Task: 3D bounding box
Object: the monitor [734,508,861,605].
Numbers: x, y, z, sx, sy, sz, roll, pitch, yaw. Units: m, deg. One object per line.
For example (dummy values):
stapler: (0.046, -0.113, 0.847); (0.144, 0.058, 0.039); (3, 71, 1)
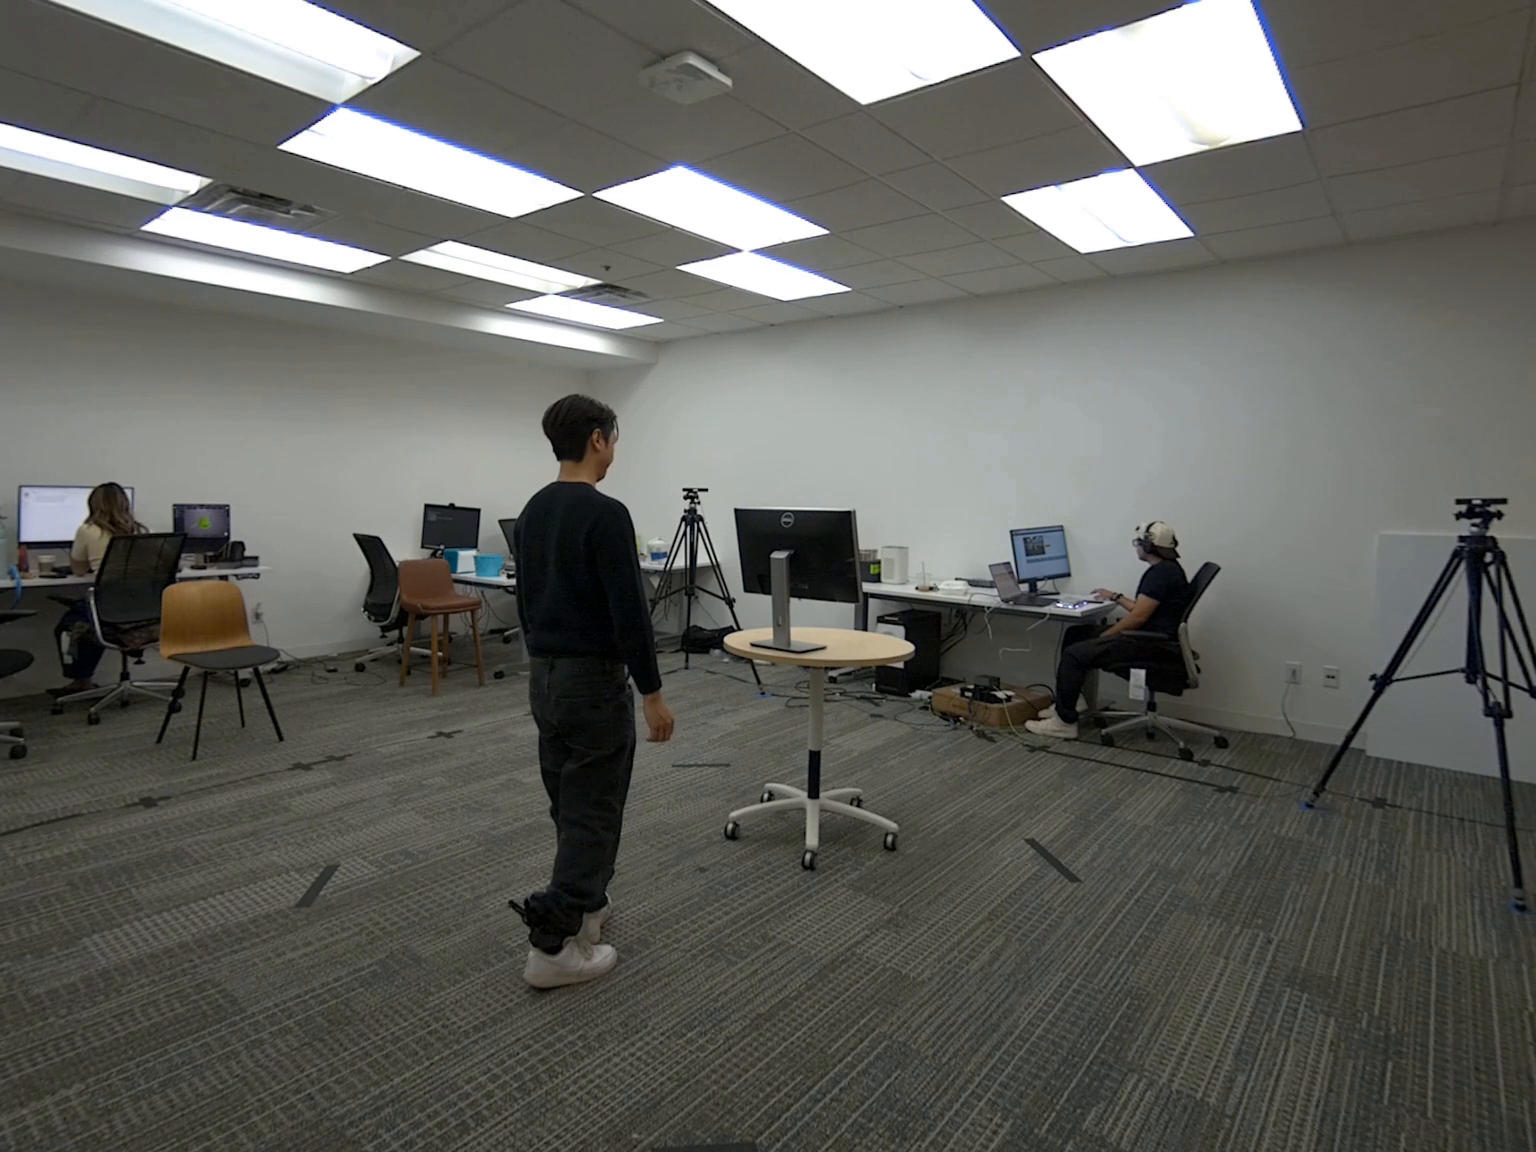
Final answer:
monitor: (0.073, 0.008, 3.304); (0.556, 0.521, 0.181); (4, 3, 36)
